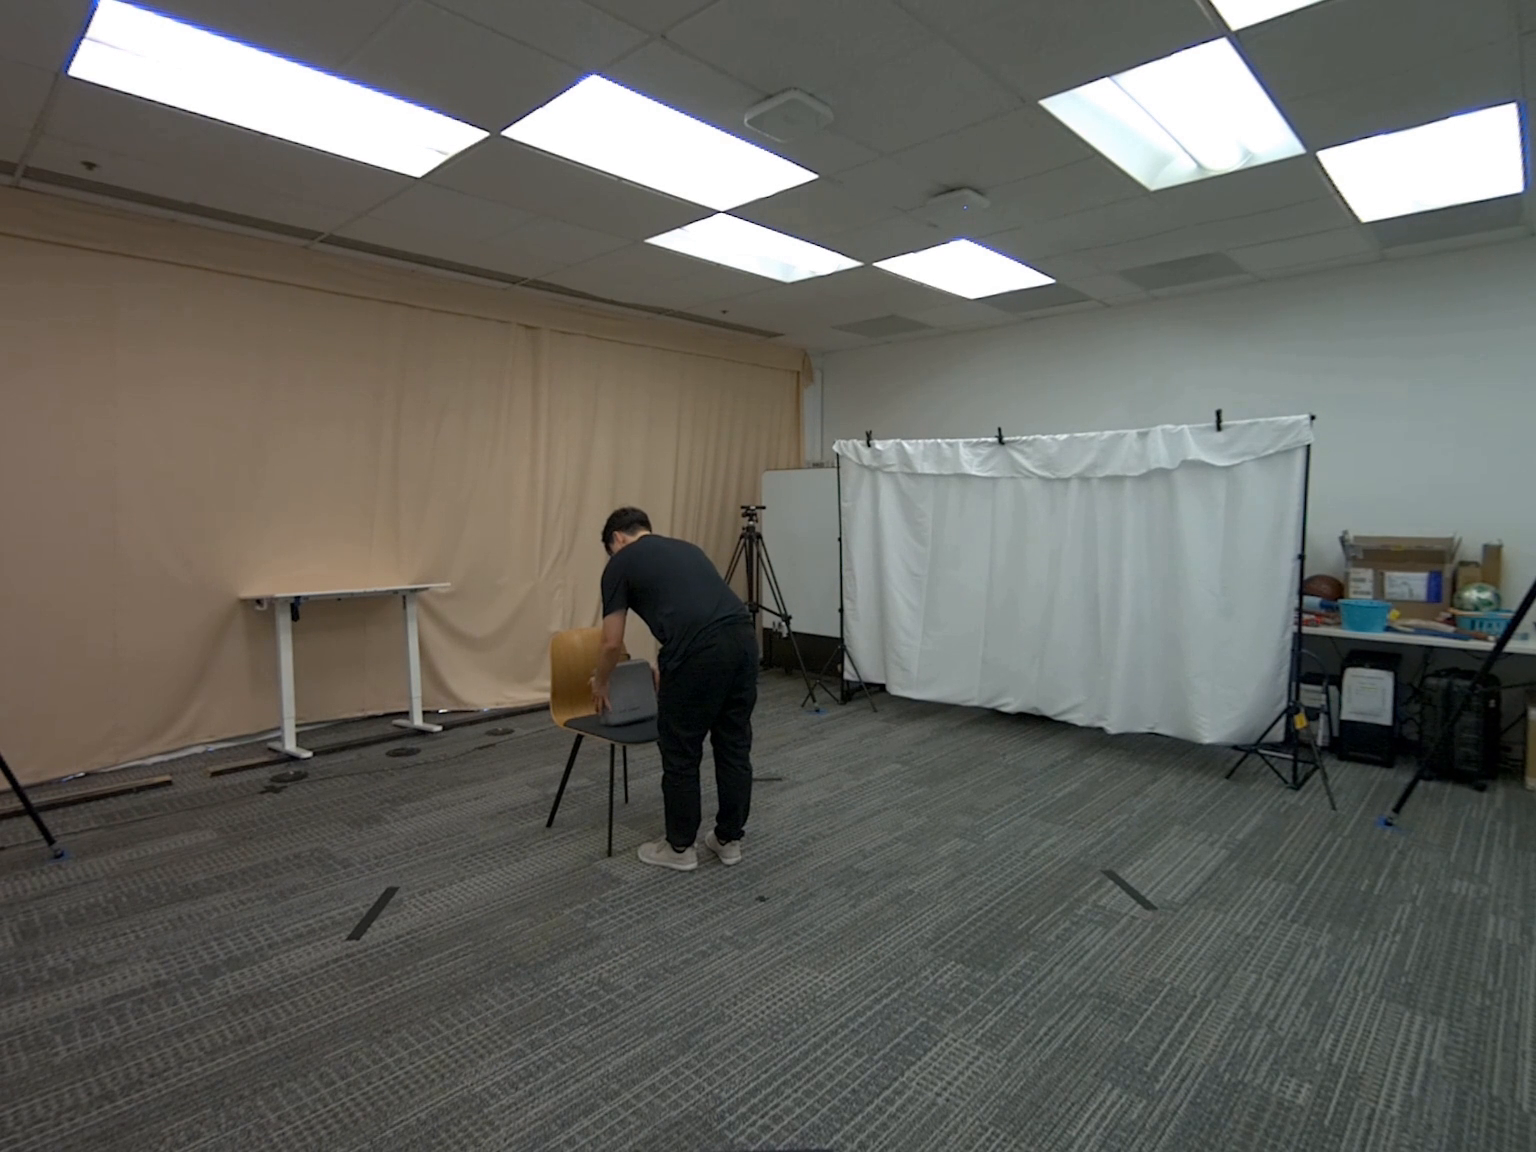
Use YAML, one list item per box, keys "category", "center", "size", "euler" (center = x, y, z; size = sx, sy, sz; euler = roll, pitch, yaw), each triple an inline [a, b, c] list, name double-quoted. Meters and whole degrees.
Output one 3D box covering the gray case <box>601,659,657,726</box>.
- category: "gray case"
  center: [-0.604, 0.500, 3.587]
  size: [0.250, 0.264, 0.106]
  euler: [-5, -16, -29]
